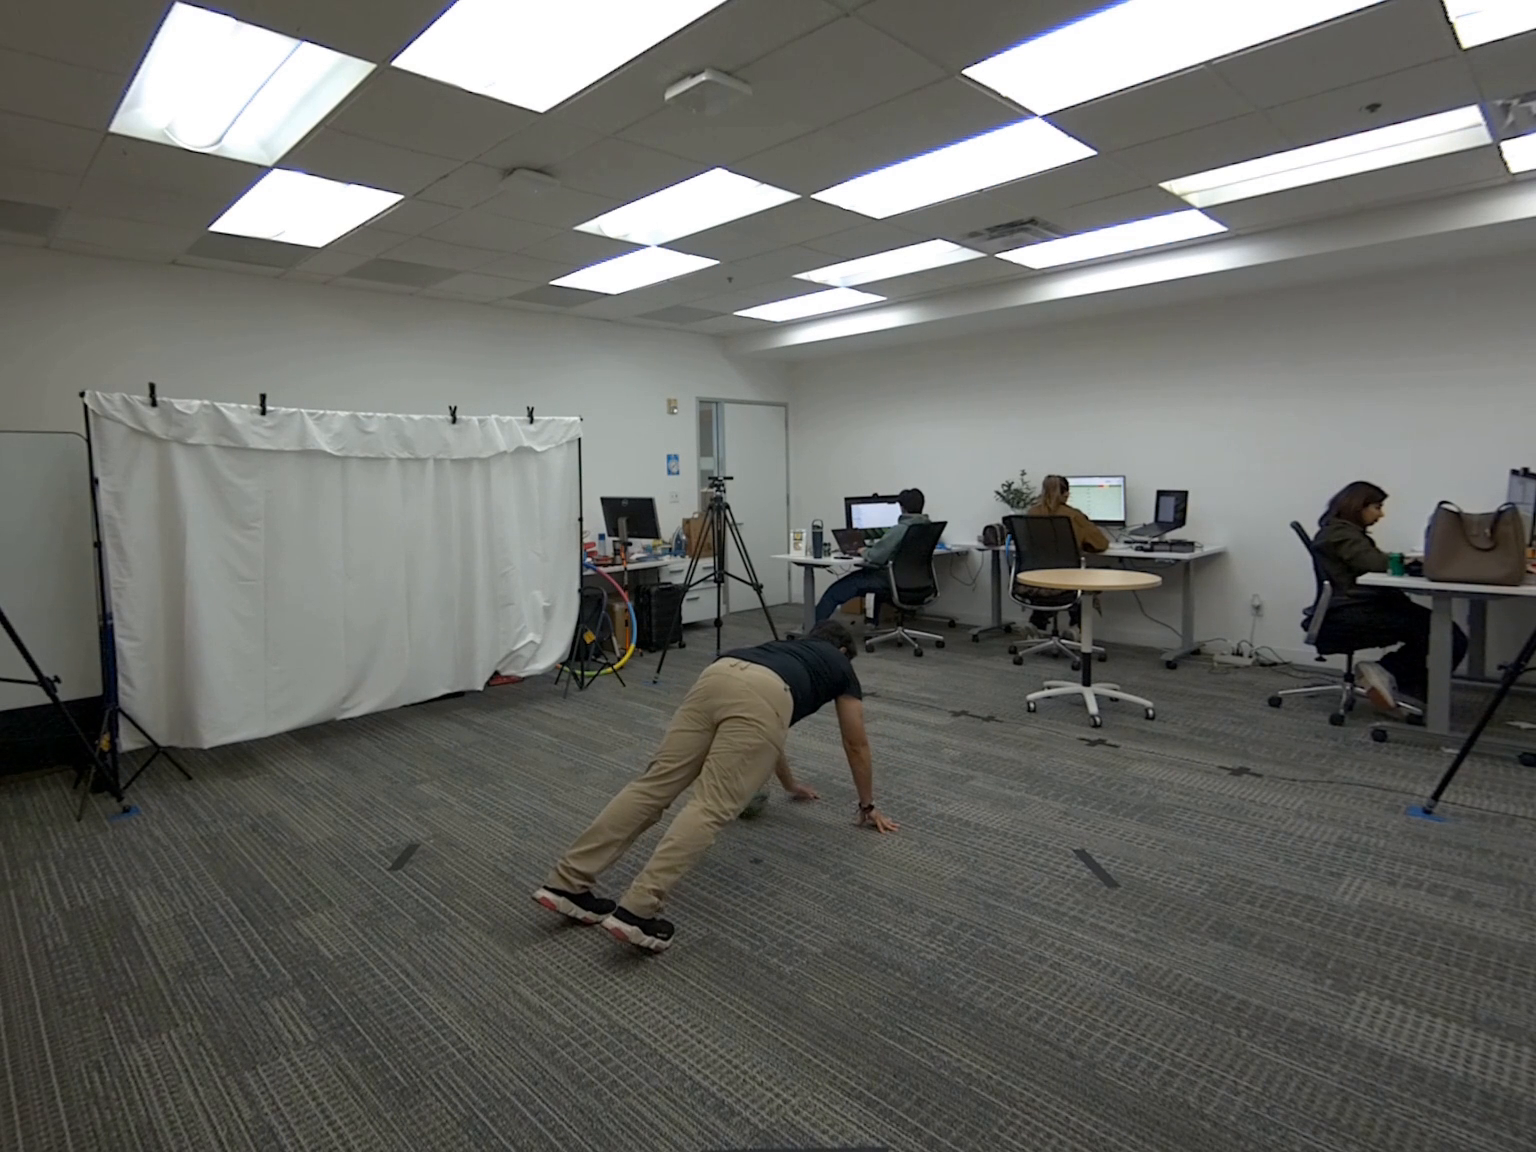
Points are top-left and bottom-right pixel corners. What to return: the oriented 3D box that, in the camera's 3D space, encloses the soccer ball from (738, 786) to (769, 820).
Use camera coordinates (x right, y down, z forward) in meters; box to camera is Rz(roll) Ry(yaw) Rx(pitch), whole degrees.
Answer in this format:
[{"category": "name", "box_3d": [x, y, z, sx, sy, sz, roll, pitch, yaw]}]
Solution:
[{"category": "soccer ball", "box_3d": [-0.081, 0.898, 3.539, 0.187, 0.187, 0.188, -1, 5, -2]}]
